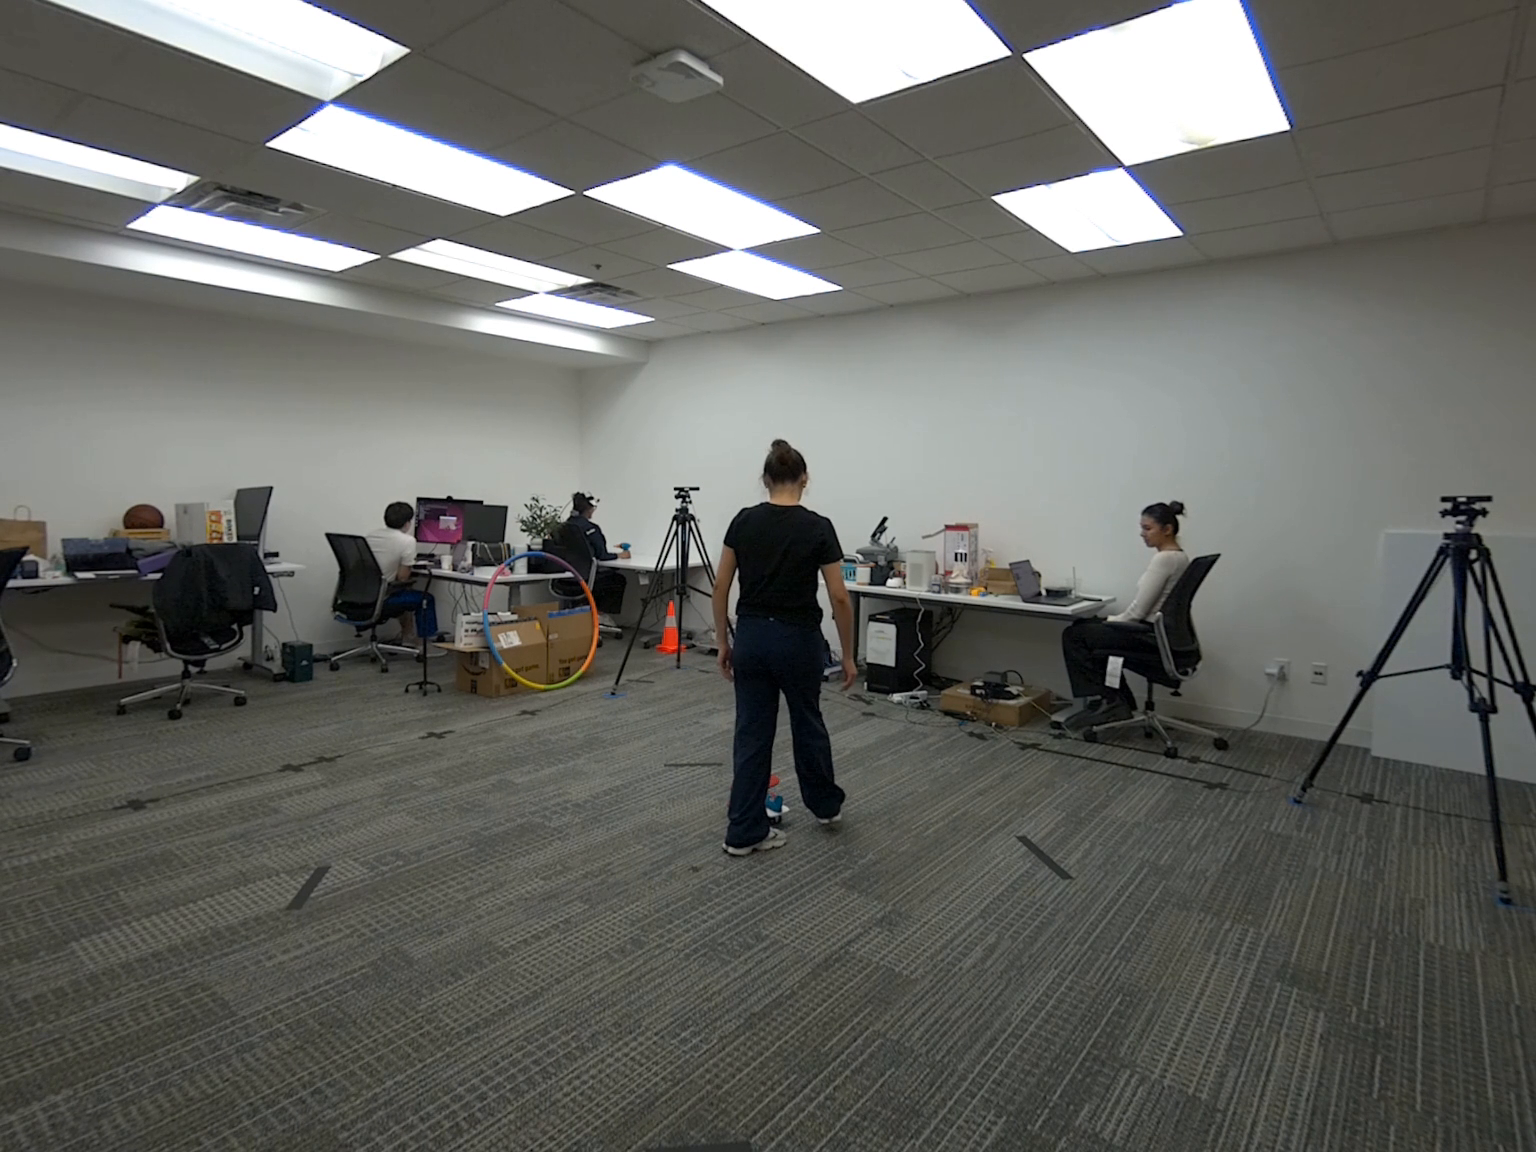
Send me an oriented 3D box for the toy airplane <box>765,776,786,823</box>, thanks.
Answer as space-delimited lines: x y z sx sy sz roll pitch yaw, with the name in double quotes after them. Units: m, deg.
0.006 0.937 3.626 0.264 0.156 0.247 1 5 19 "toy airplane"
